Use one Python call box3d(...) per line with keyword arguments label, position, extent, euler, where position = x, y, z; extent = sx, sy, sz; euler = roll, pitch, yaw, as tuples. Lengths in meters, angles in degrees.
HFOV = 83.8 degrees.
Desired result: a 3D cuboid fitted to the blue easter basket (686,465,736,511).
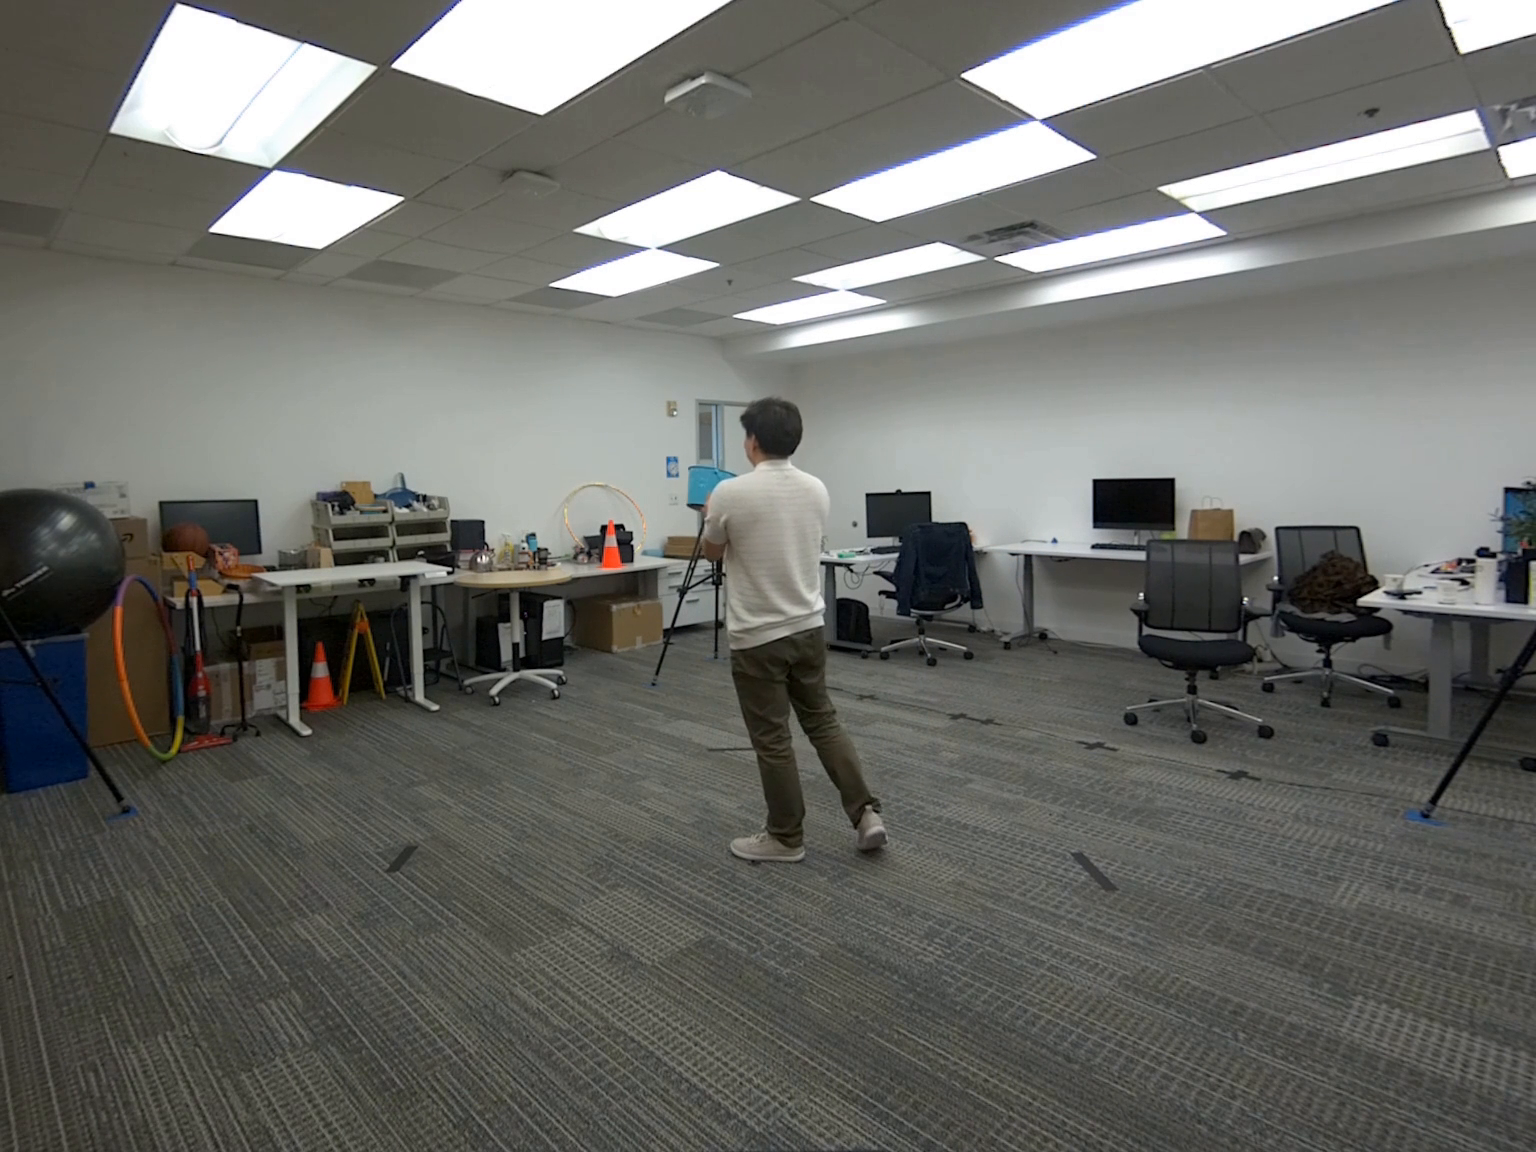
box3d(label="blue easter basket", position=(-0.227, -0.347, 3.522), extent=(0.244, 0.157, 0.242), euler=(11, -8, 0))
